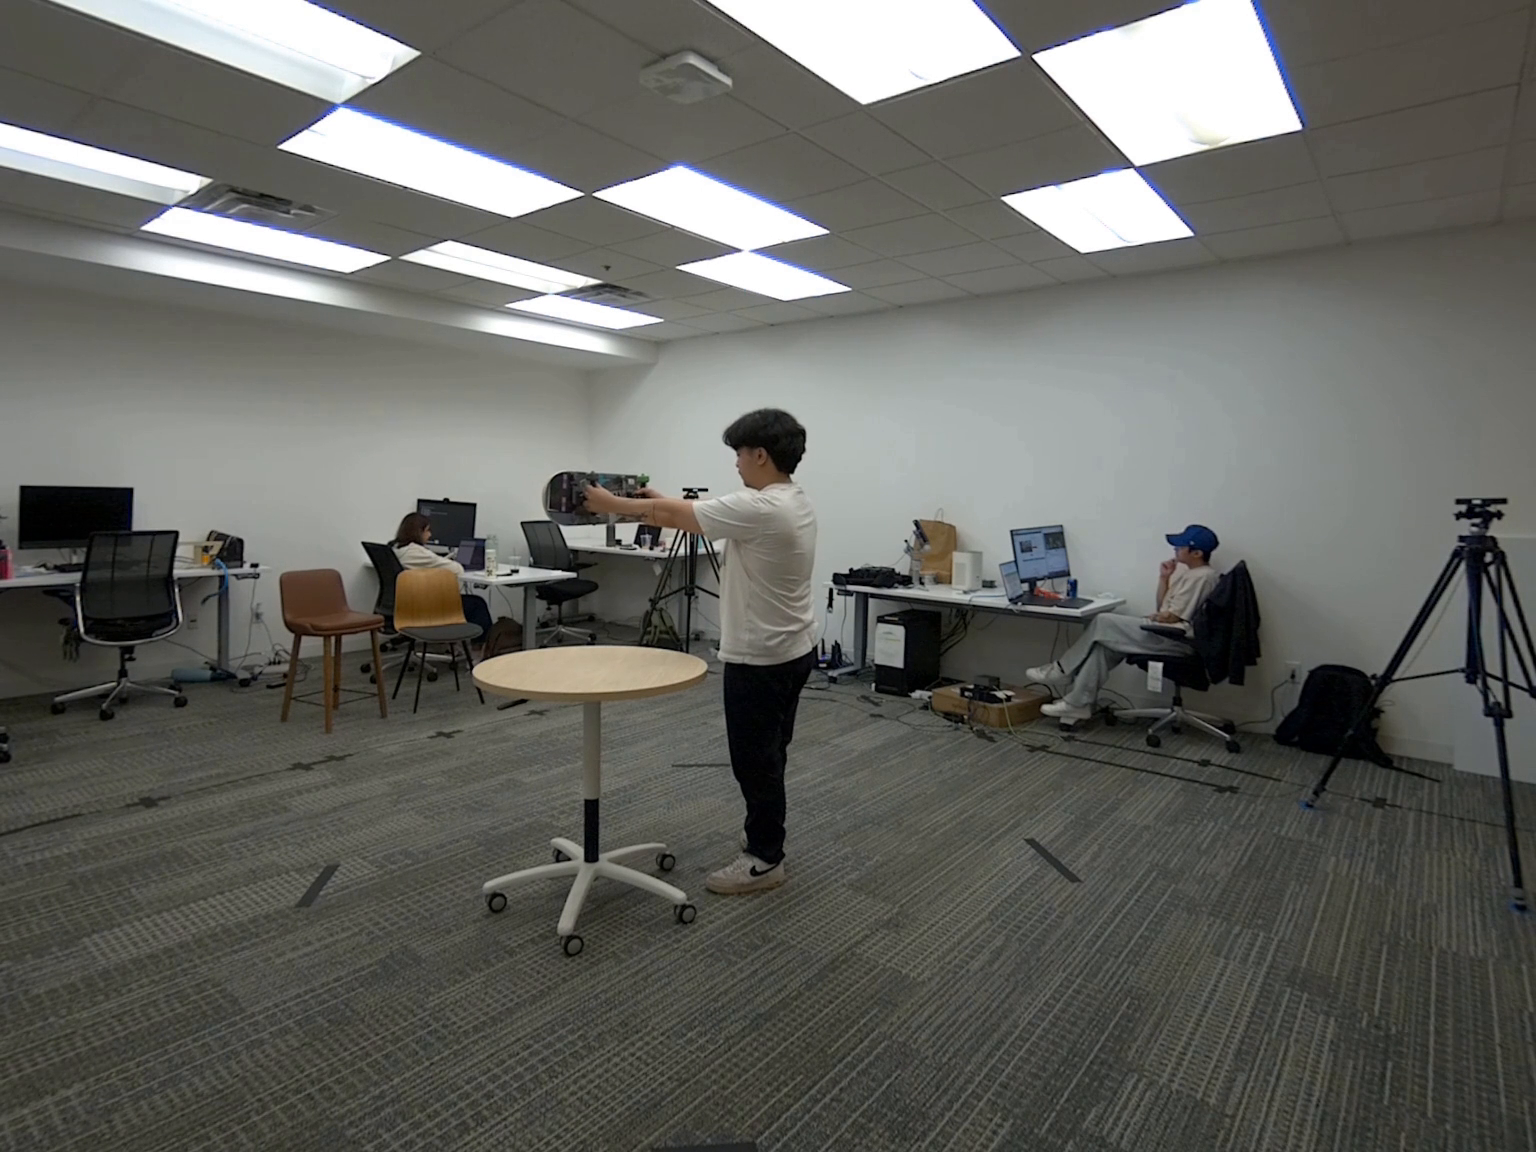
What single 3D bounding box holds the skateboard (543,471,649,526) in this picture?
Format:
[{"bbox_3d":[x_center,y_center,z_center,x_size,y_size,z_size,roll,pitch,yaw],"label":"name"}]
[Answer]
[{"bbox_3d":[-0.599,-0.295,3.213,0.112,0.193,0.772,-2,4,19],"label":"skateboard"}]
